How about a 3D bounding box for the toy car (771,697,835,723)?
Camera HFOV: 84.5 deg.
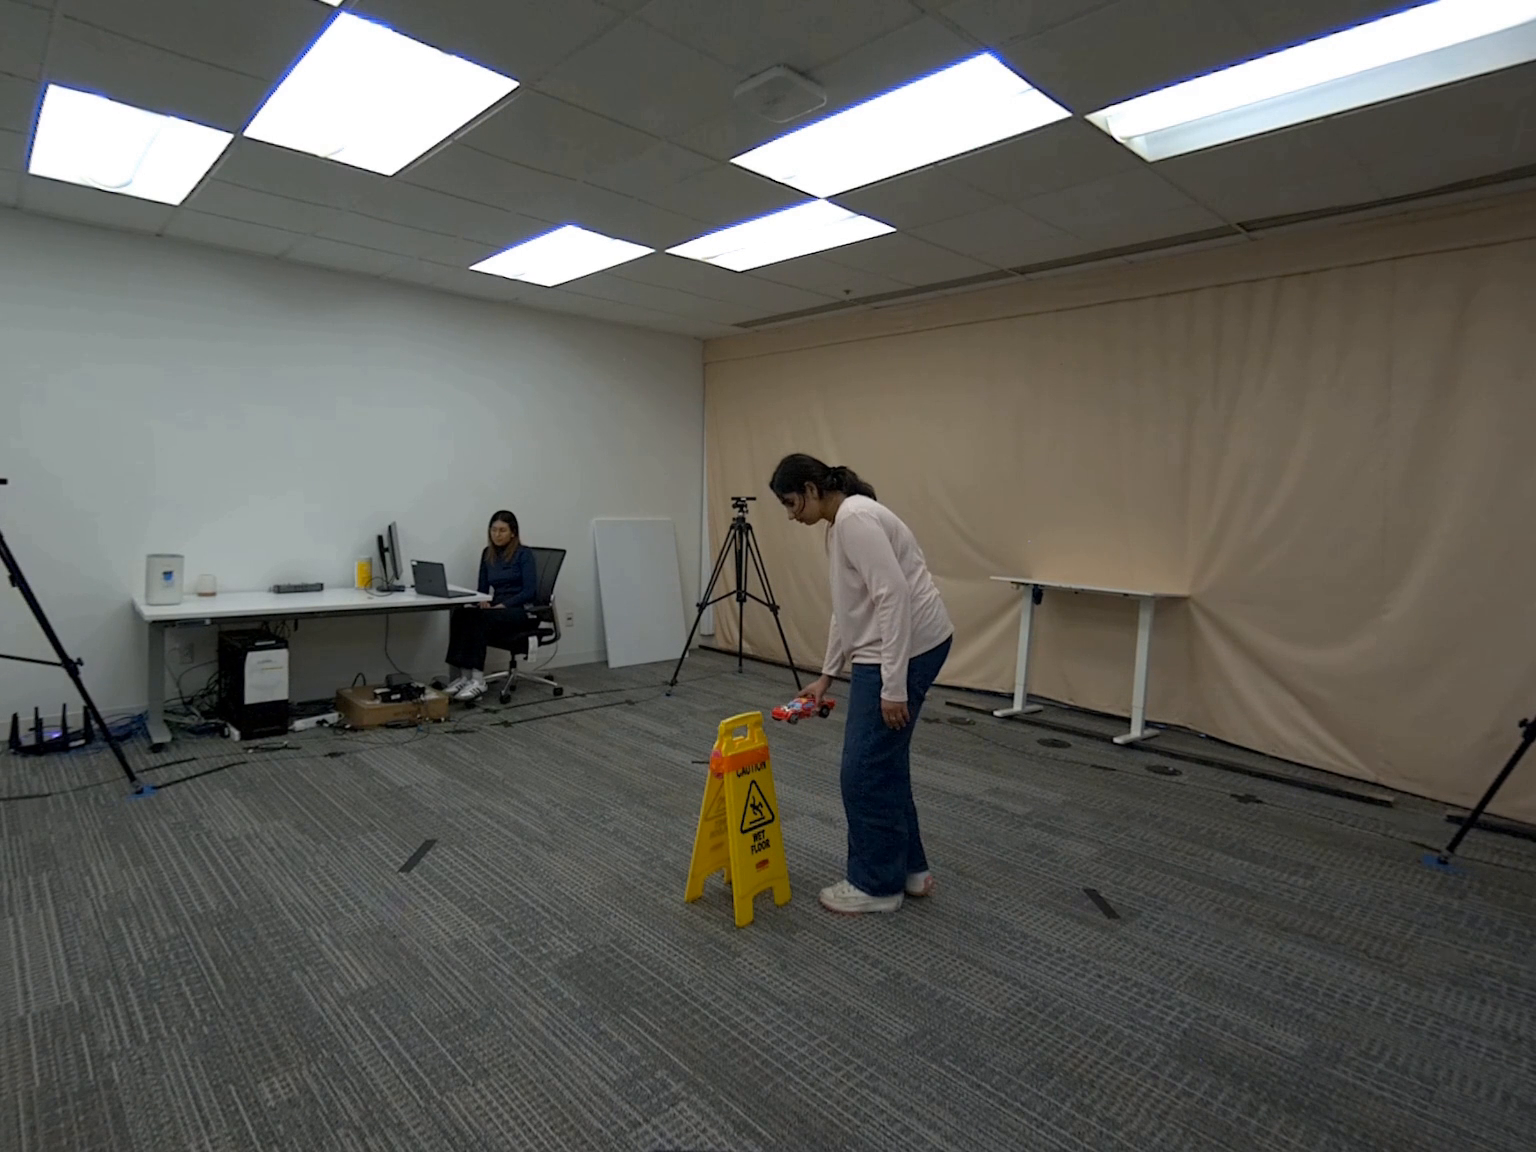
[{"bbox_3d":[0.130,0.502,3.142,0.250,0.083,0.133,-17,10,-35],"label":"toy car"}]
